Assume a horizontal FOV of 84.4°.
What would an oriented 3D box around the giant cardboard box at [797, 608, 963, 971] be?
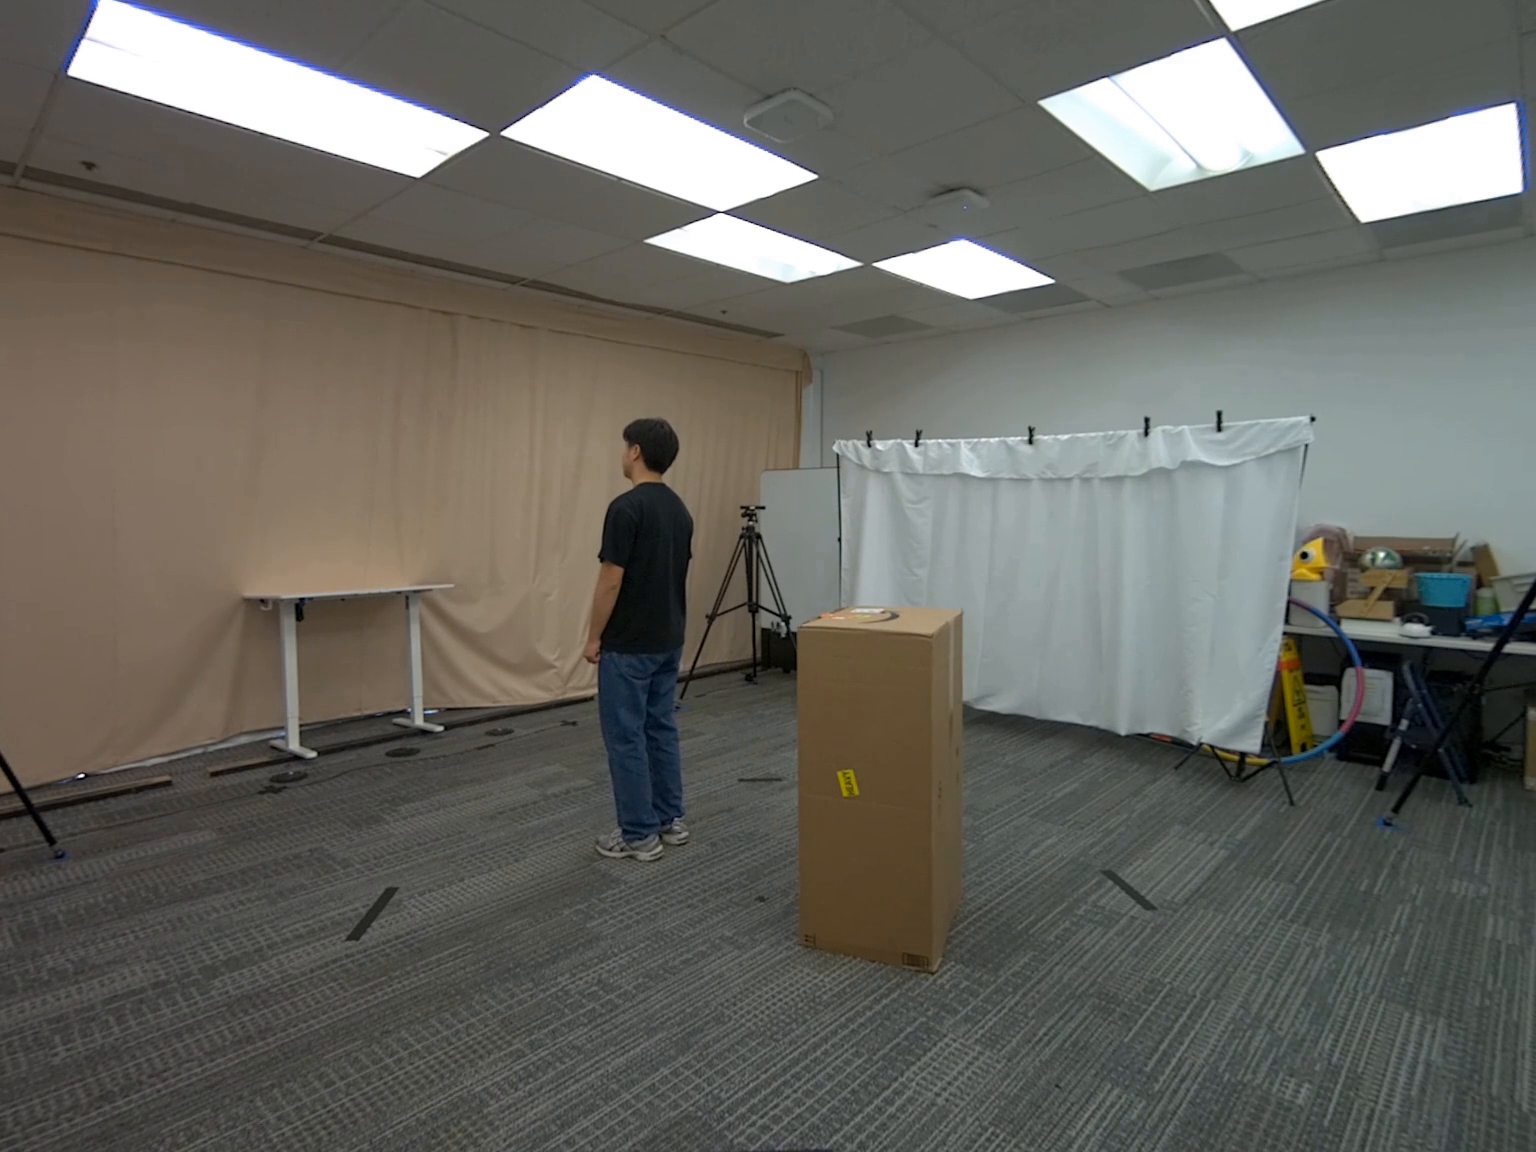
[{"bbox_3d":[0.395,0.645,2.815,0.458,1.025,0.570,0,3,24],"label":"giant cardboard box"}]
